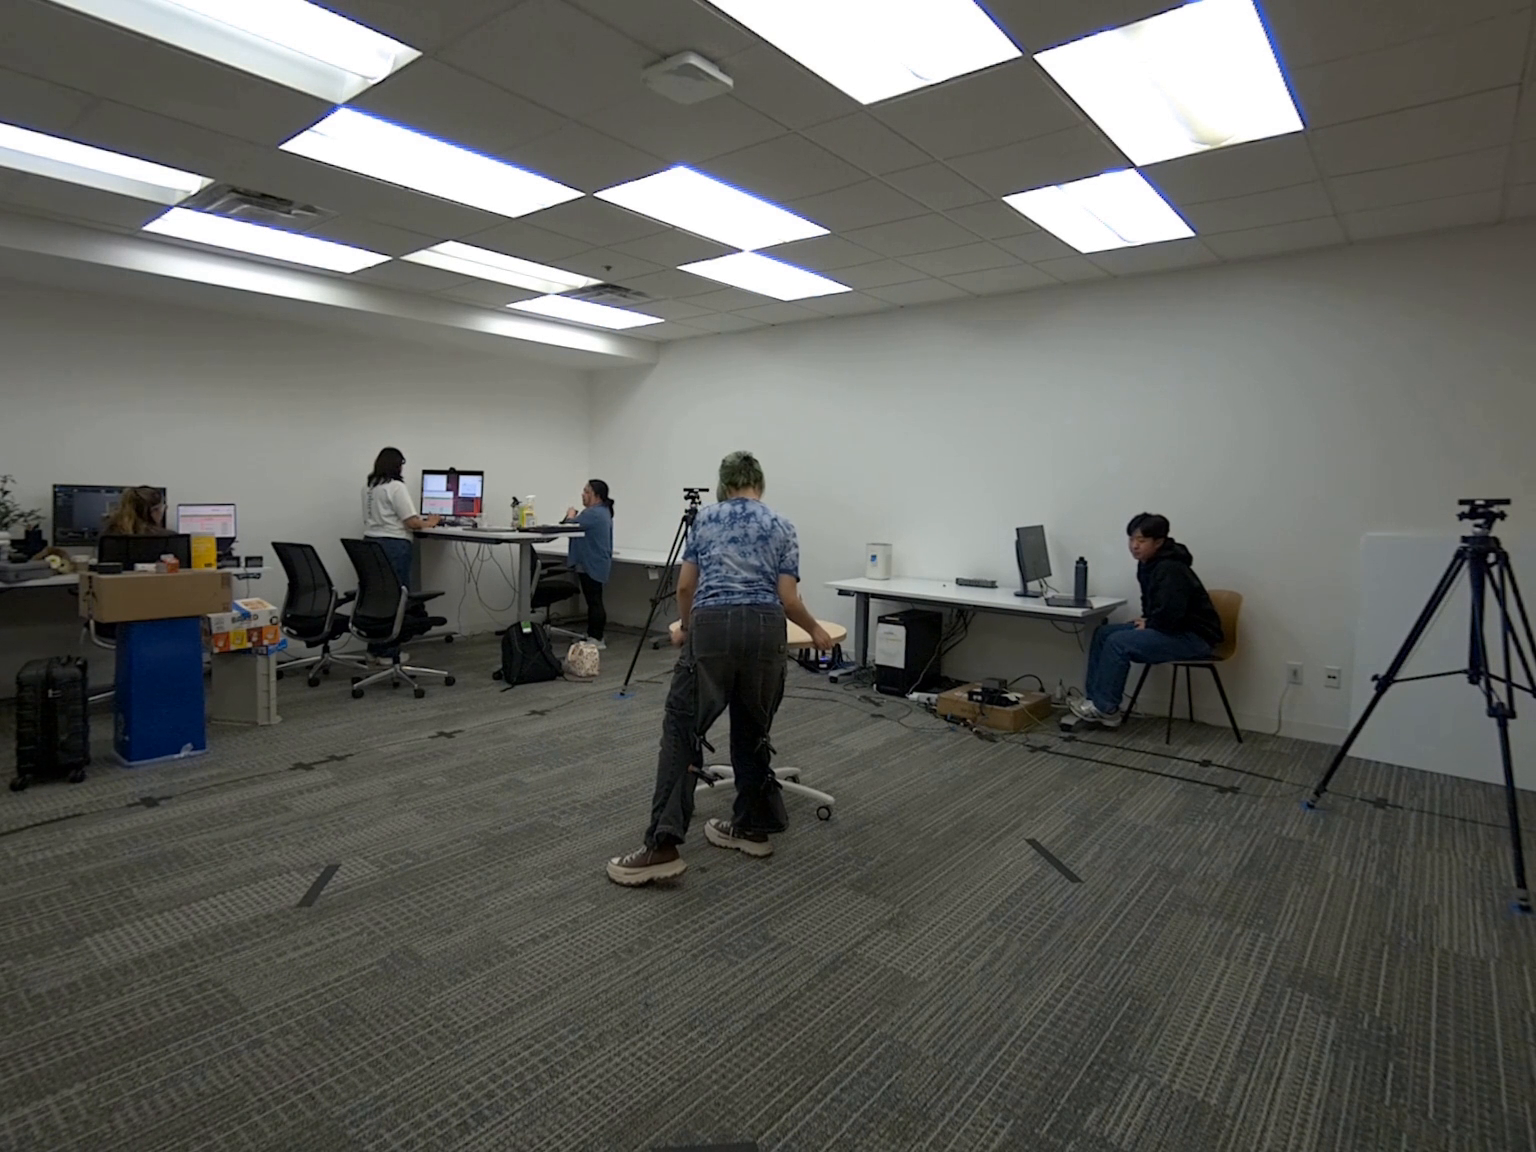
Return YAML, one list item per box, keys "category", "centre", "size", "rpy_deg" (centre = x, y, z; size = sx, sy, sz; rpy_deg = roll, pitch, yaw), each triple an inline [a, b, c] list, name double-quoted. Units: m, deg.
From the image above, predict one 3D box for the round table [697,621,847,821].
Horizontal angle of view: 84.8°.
- category: "round table"
  centre: [-0.055, 0.618, 3.711]
  size: [0.763, 0.792, 0.767]
  rpy_deg: [1, 4, -2]
